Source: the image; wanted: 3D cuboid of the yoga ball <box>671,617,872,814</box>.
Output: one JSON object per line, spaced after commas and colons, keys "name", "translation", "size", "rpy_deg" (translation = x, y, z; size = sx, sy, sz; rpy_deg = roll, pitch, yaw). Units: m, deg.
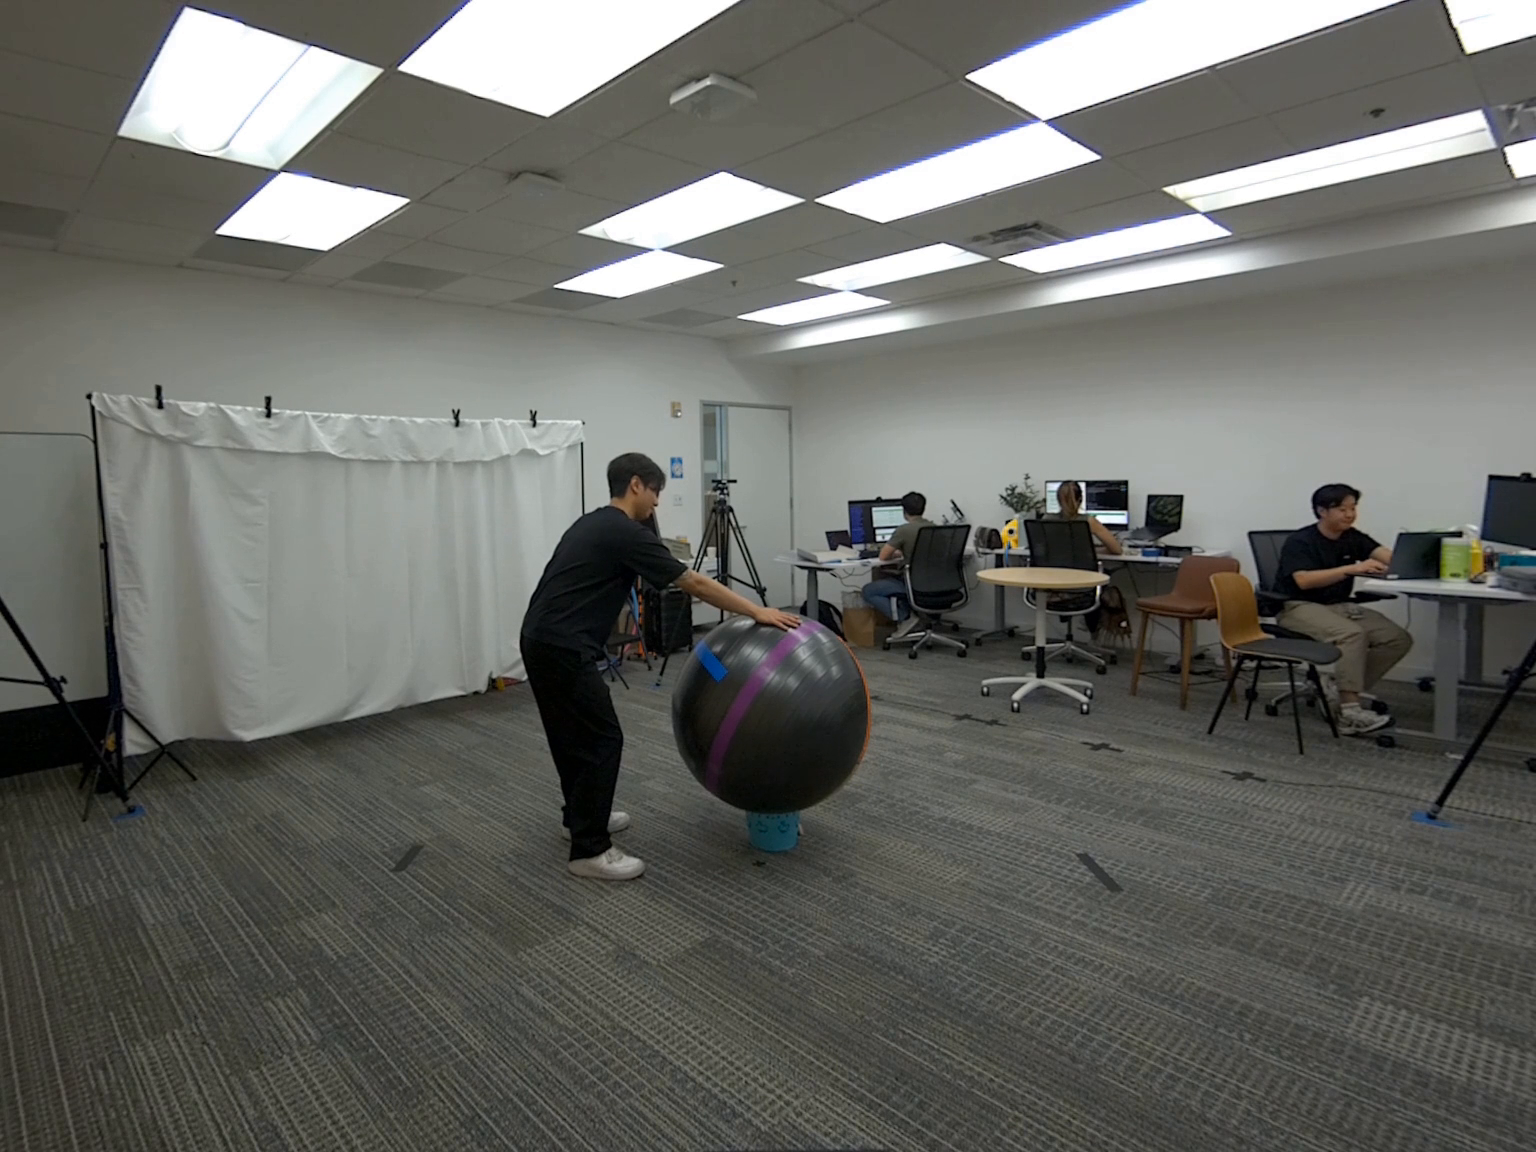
{"name": "yoga ball", "translation": [0.021, 0.519, 3.277], "size": [0.757, 0.755, 0.762], "rpy_deg": [-1, 5, -2]}
